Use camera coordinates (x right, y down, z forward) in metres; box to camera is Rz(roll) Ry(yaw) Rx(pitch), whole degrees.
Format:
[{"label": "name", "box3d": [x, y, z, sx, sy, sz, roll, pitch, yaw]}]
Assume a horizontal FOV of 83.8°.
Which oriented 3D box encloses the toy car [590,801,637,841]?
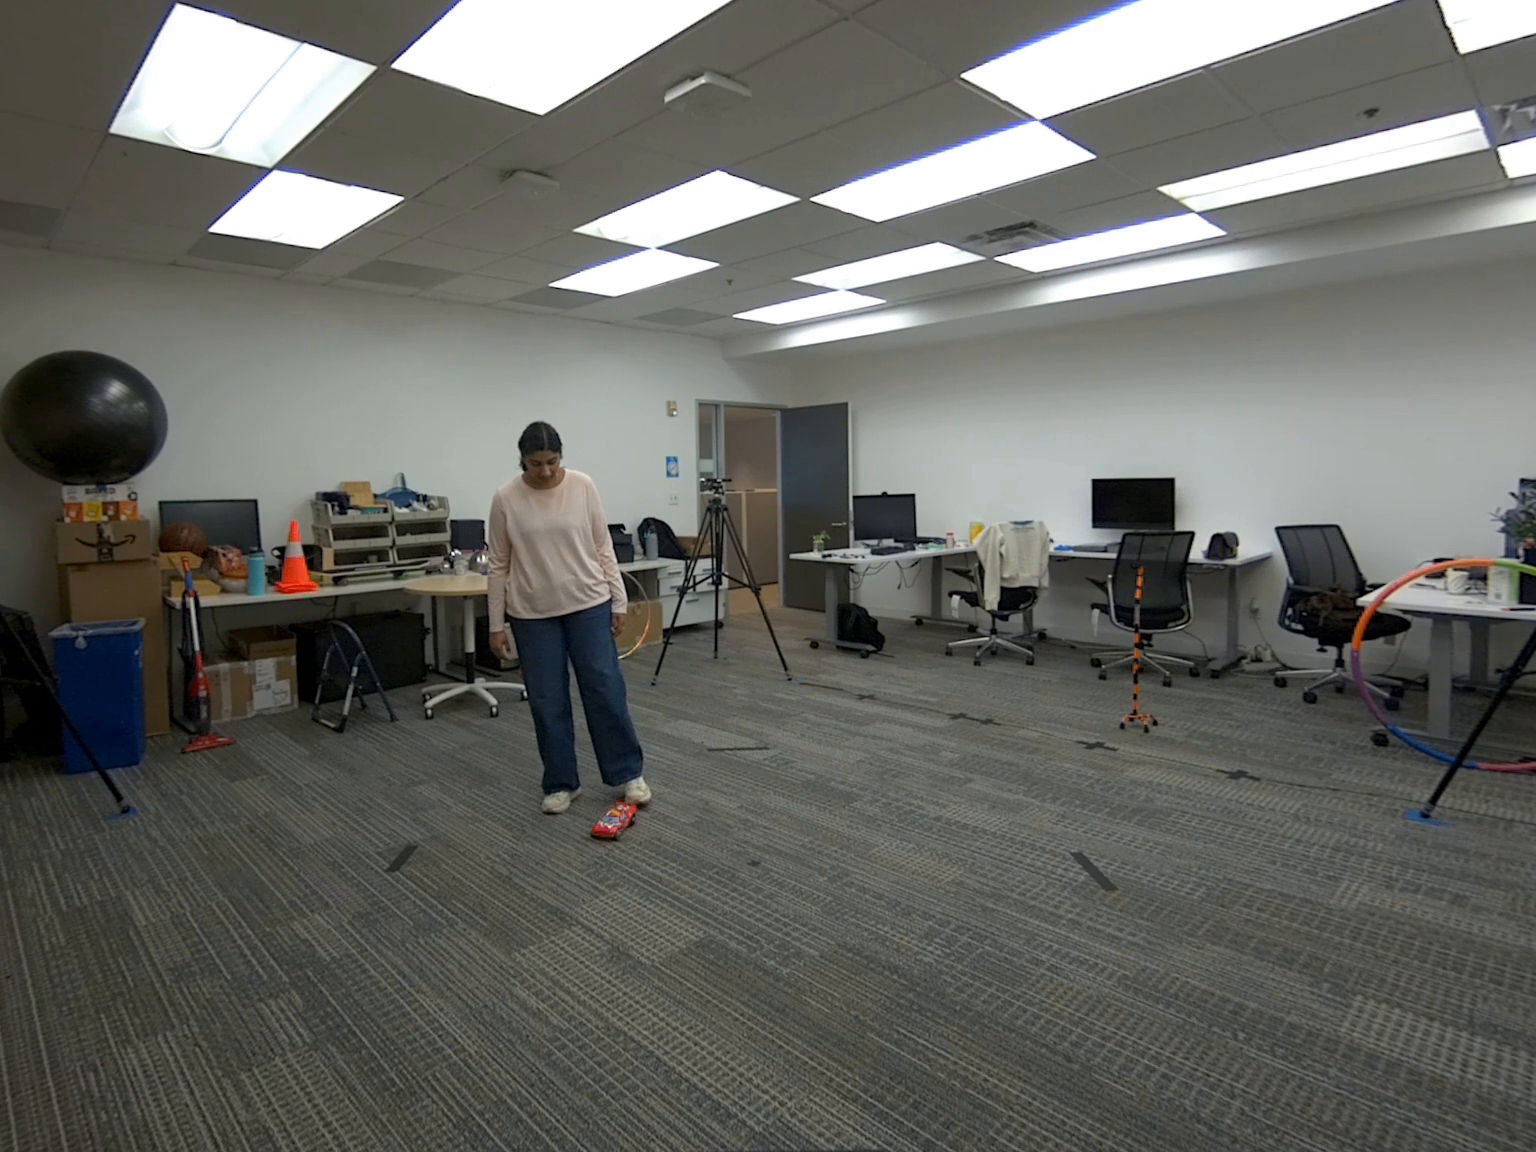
[{"label": "toy car", "box3d": [-0.612, 0.986, 3.438, 0.132, 0.082, 0.254, 1, 17, 15]}]
